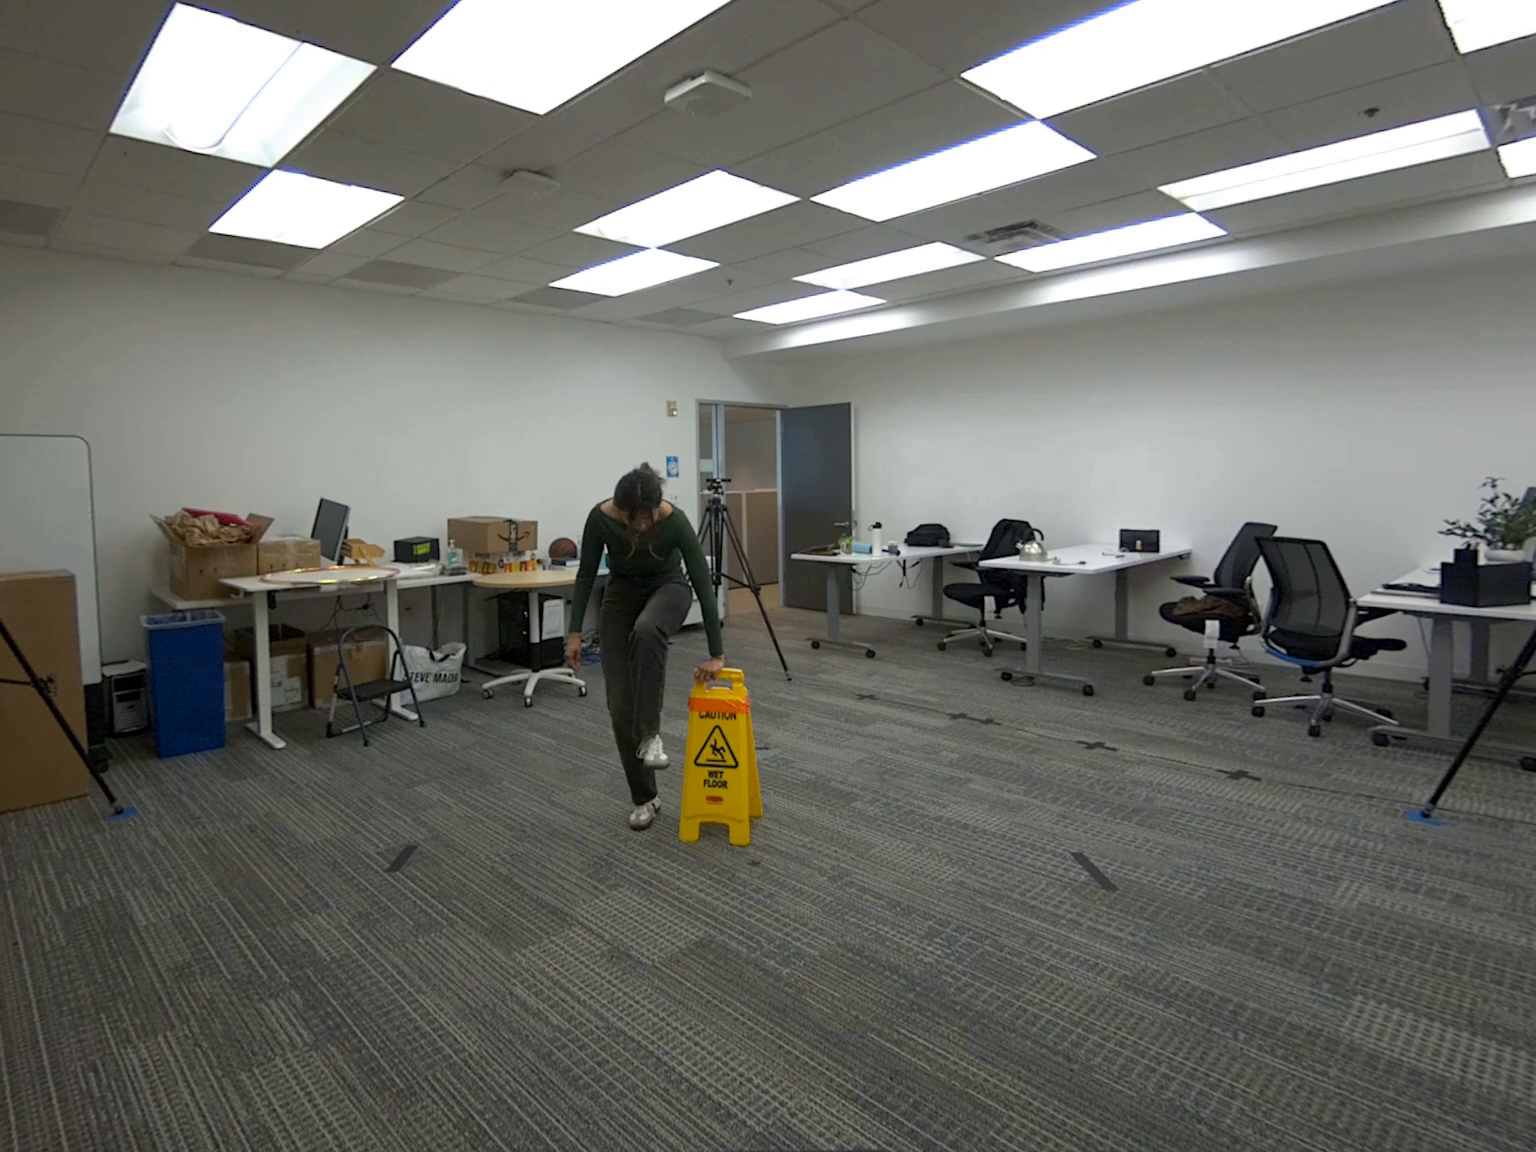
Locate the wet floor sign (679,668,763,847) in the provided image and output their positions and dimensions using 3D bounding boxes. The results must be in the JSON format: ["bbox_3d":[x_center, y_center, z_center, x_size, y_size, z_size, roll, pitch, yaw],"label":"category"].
[{"bbox_3d":[-0.192,0.689,3.402,0.285,0.644,0.287,-1,4,11],"label":"wet floor sign"}]
